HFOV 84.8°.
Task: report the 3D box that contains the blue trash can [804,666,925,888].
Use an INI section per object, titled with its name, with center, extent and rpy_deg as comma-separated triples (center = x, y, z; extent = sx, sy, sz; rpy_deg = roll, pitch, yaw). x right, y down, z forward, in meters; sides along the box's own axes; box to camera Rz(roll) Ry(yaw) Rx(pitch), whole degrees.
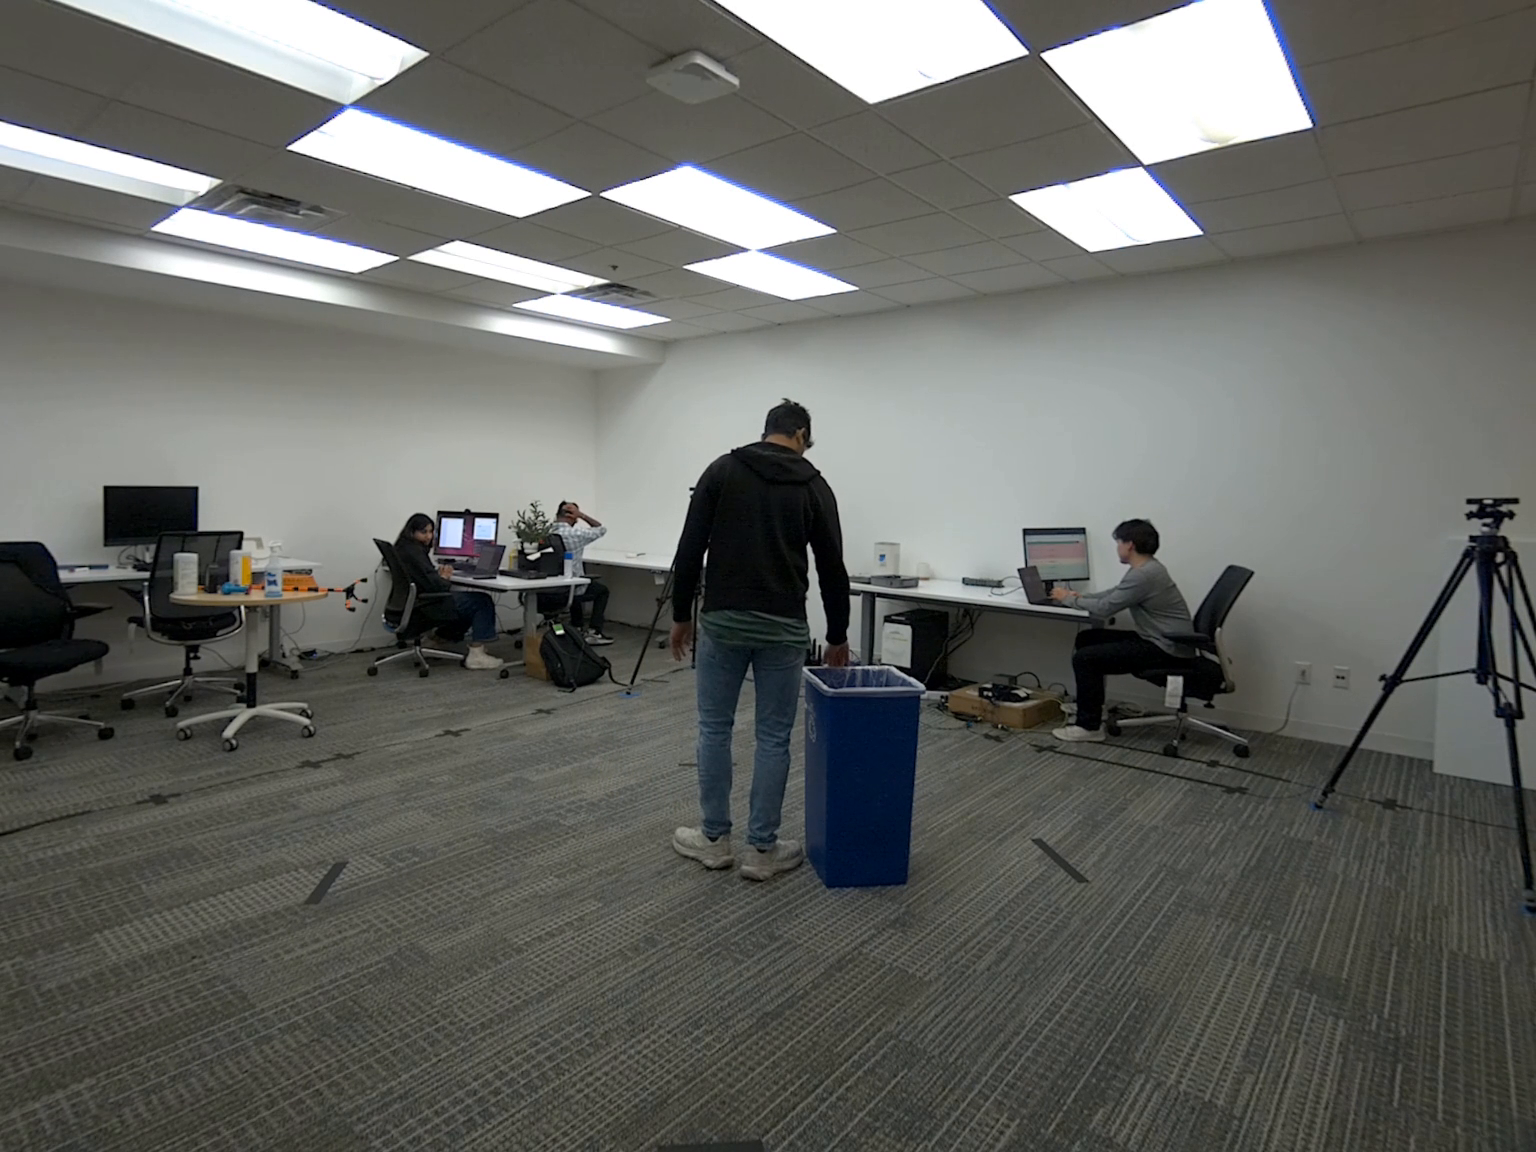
[blue trash can]
center = 0.319, 0.720, 3.114
extent = 0.369, 0.711, 0.384
rpy_deg = 1, 5, -12
